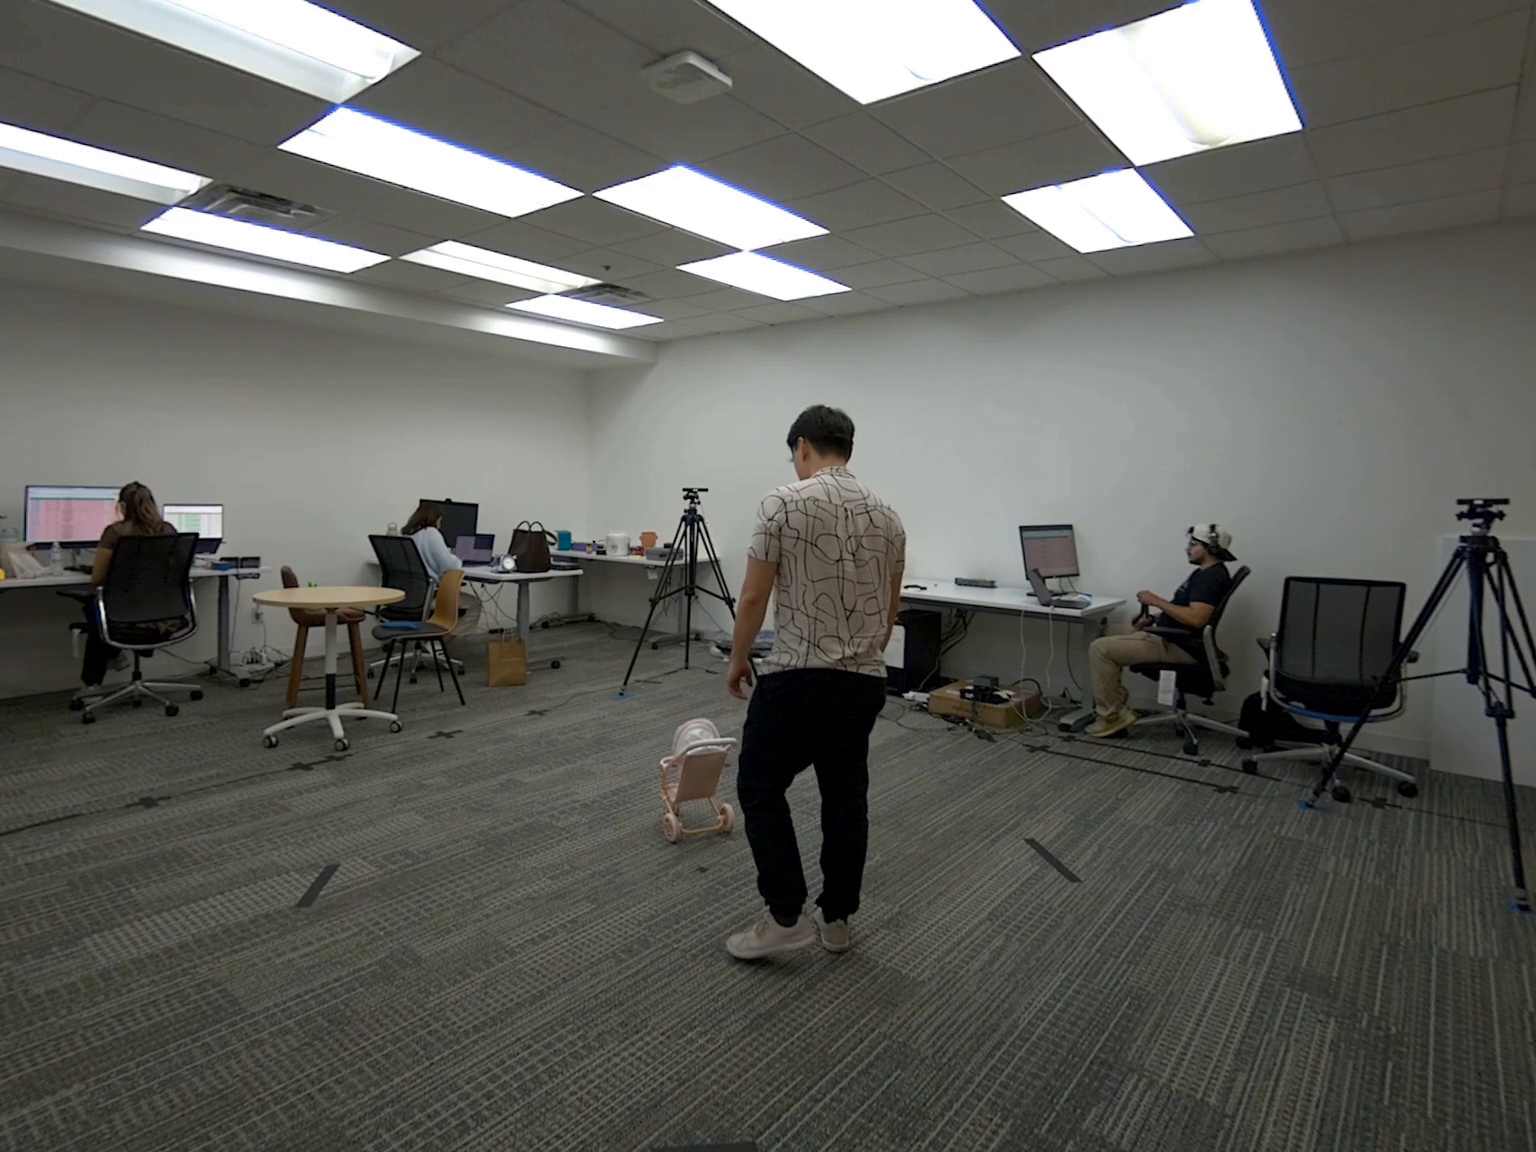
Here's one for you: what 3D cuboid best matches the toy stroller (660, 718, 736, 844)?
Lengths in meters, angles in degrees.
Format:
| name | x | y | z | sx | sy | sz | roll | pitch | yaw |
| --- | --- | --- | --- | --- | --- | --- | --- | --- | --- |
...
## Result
| name | x | y | z | sx | sy | sz | roll | pitch | yaw |
| --- | --- | --- | --- | --- | --- | --- | --- | --- | --- |
| toy stroller | -0.312 | 0.809 | 3.458 | 0.275 | 0.528 | 0.354 | 0 | 19 | -24 |
